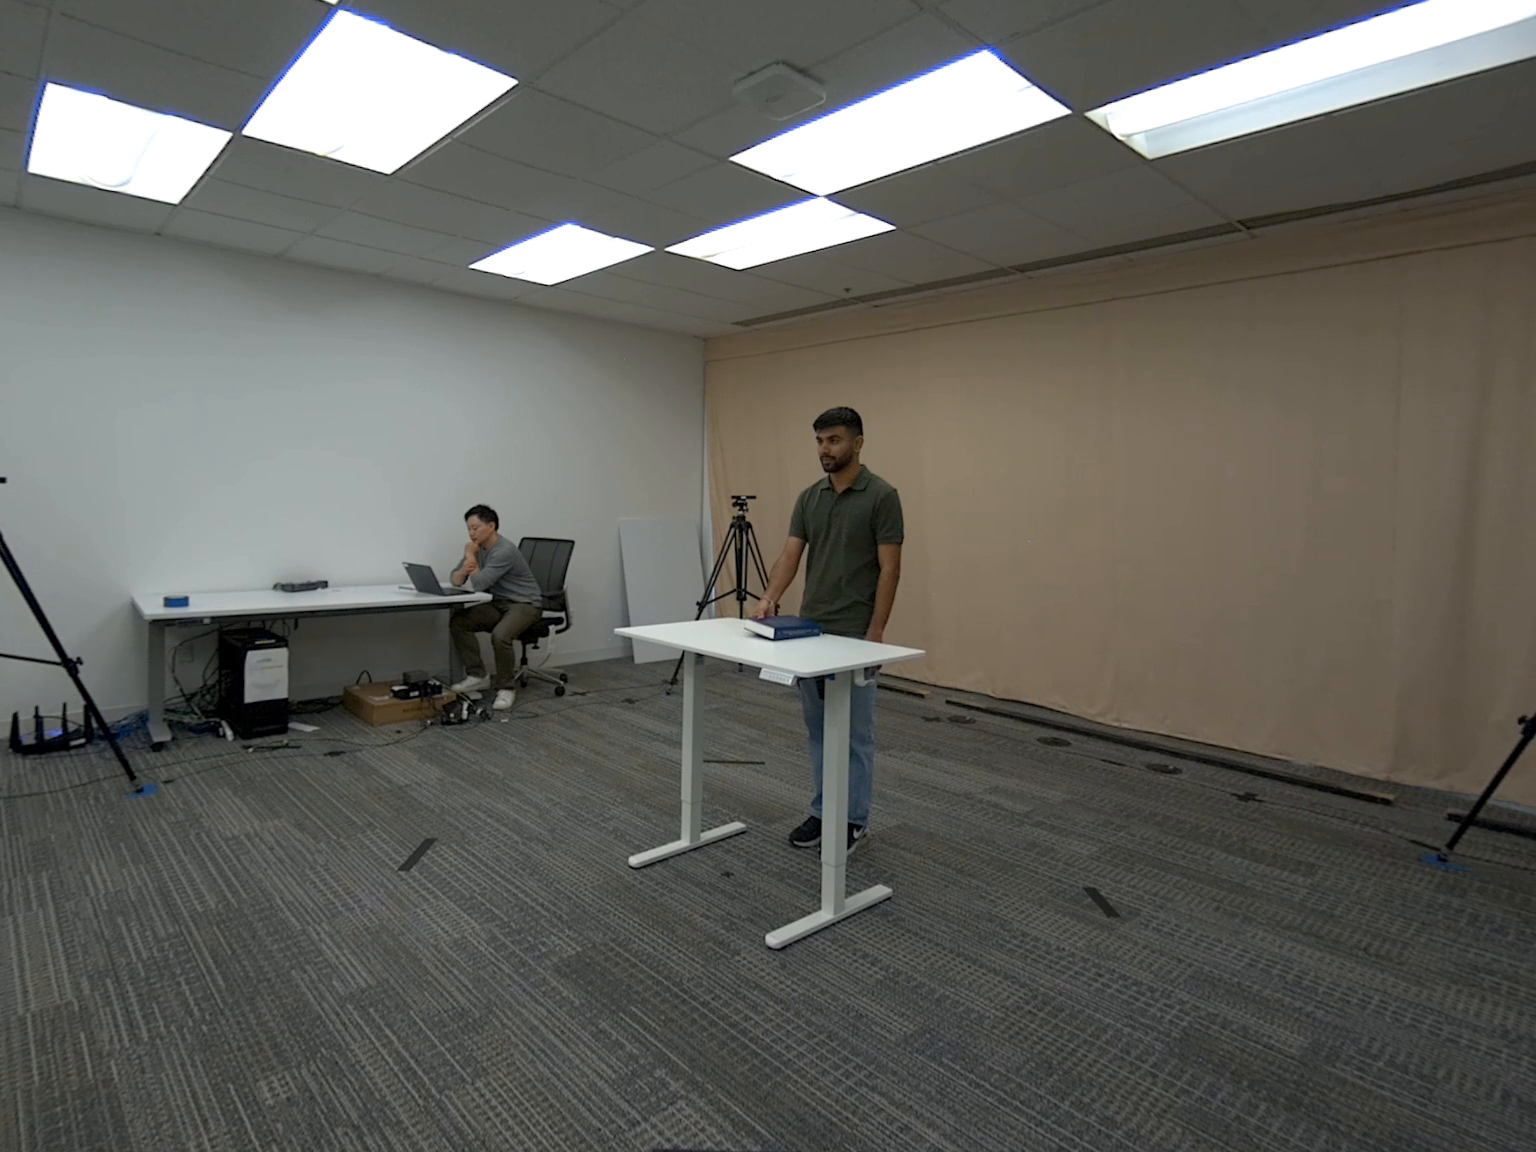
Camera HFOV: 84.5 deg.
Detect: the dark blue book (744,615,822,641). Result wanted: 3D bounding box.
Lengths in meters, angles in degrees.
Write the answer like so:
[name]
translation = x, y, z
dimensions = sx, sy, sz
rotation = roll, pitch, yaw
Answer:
[dark blue book]
translation = 0.068, 0.192, 3.125
dimensions = 0.239, 0.045, 0.168
rotation = -1, 10, -45
